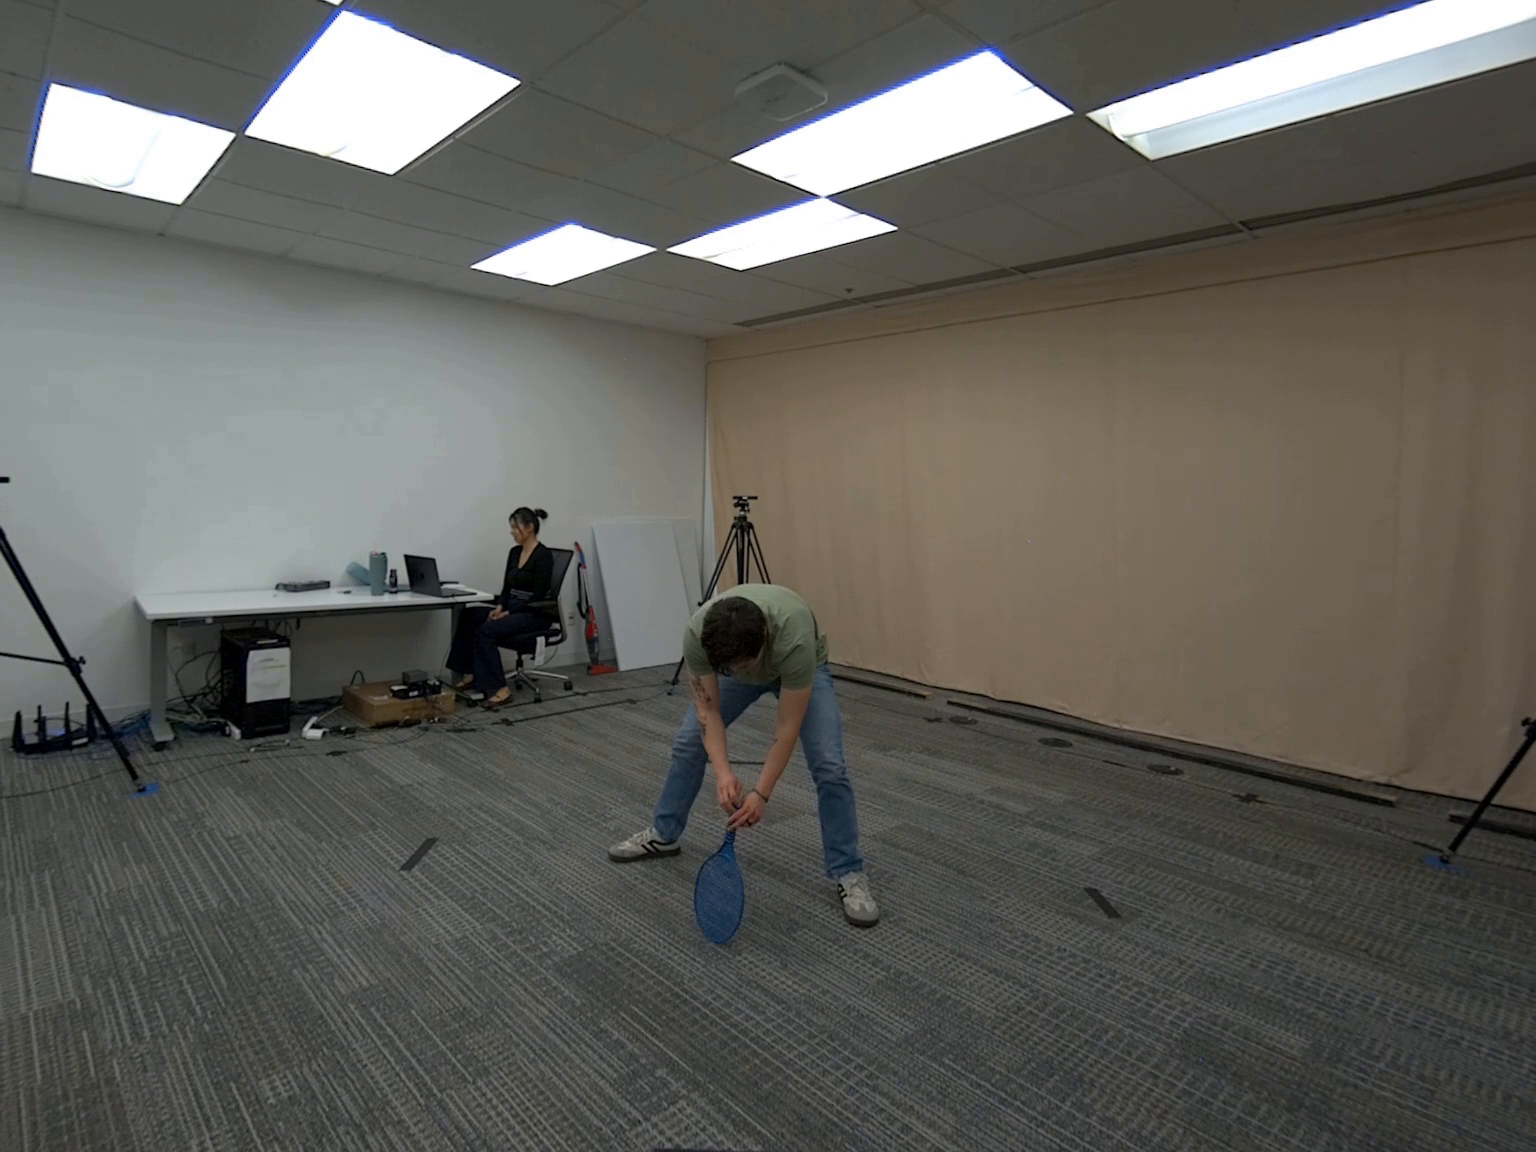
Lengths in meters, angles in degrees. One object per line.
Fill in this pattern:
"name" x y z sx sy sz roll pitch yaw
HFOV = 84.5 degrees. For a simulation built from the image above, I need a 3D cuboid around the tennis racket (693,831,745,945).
"tennis racket" -0.155 0.932 2.647 0.219 0.434 0.031 6 -4 45
